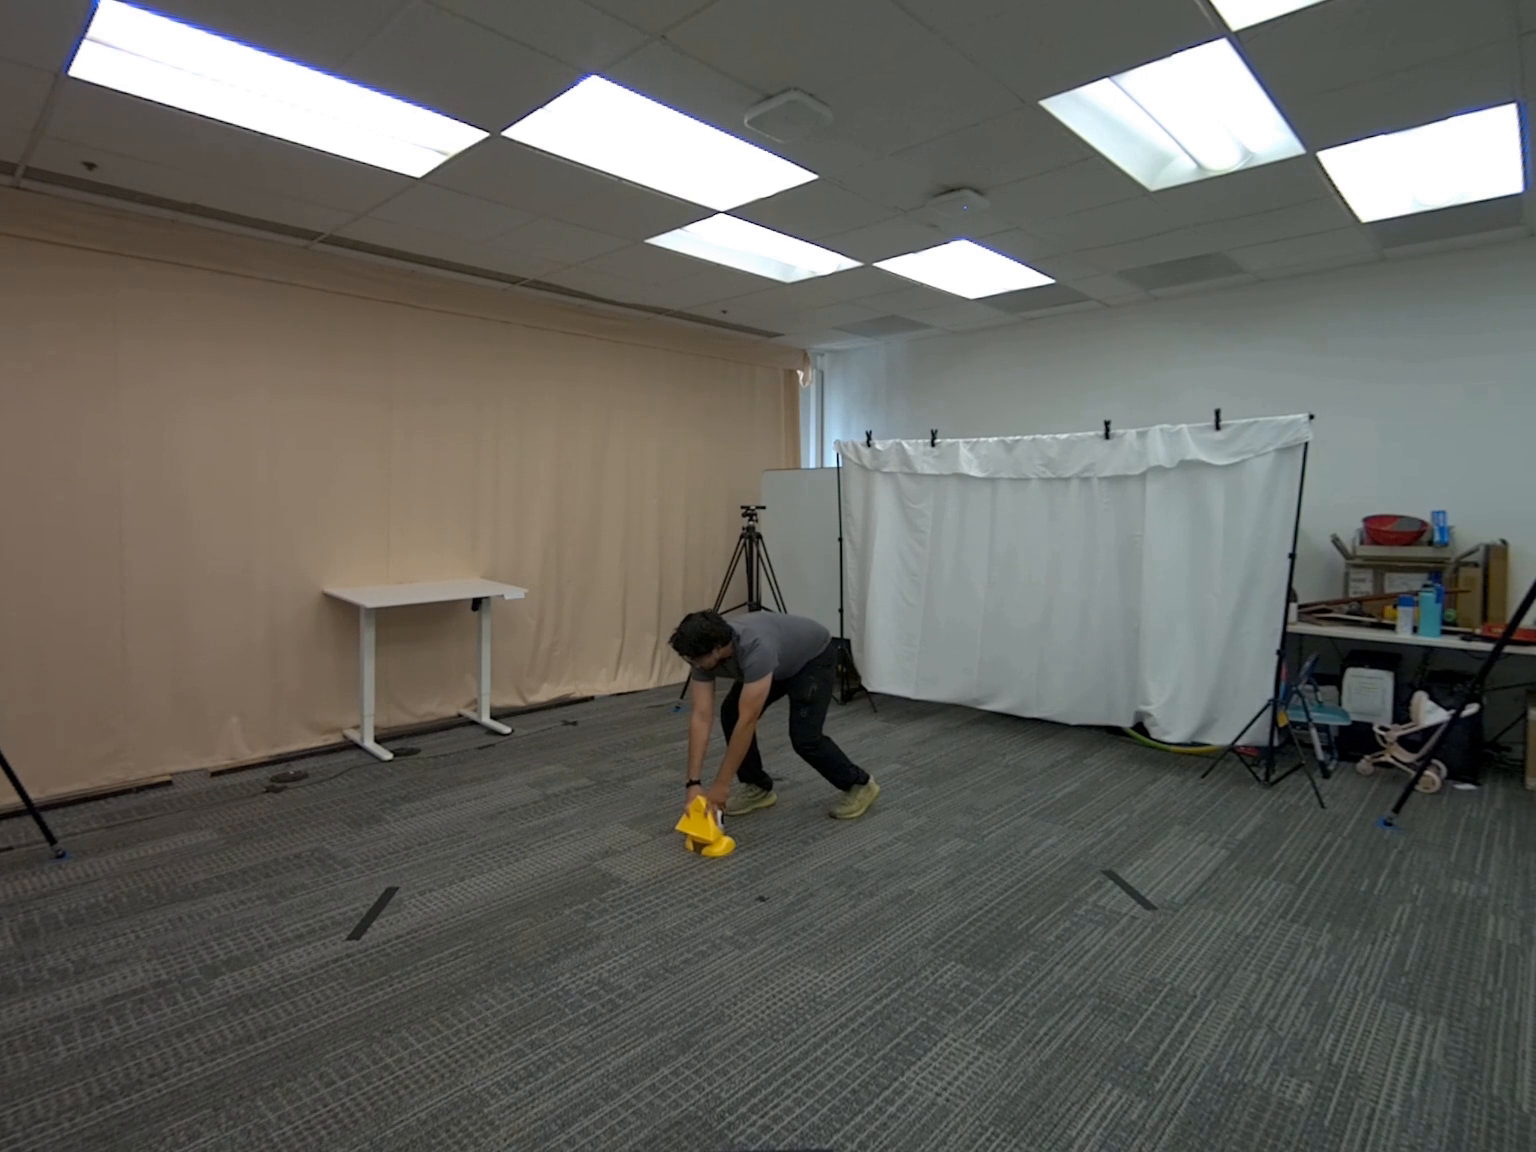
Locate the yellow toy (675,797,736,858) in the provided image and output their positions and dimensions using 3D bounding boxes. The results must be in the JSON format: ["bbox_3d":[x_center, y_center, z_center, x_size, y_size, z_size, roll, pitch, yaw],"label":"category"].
[{"bbox_3d":[-0.243,0.996,3.435,0.212,0.230,0.187,4,5,43],"label":"yellow toy"}]
